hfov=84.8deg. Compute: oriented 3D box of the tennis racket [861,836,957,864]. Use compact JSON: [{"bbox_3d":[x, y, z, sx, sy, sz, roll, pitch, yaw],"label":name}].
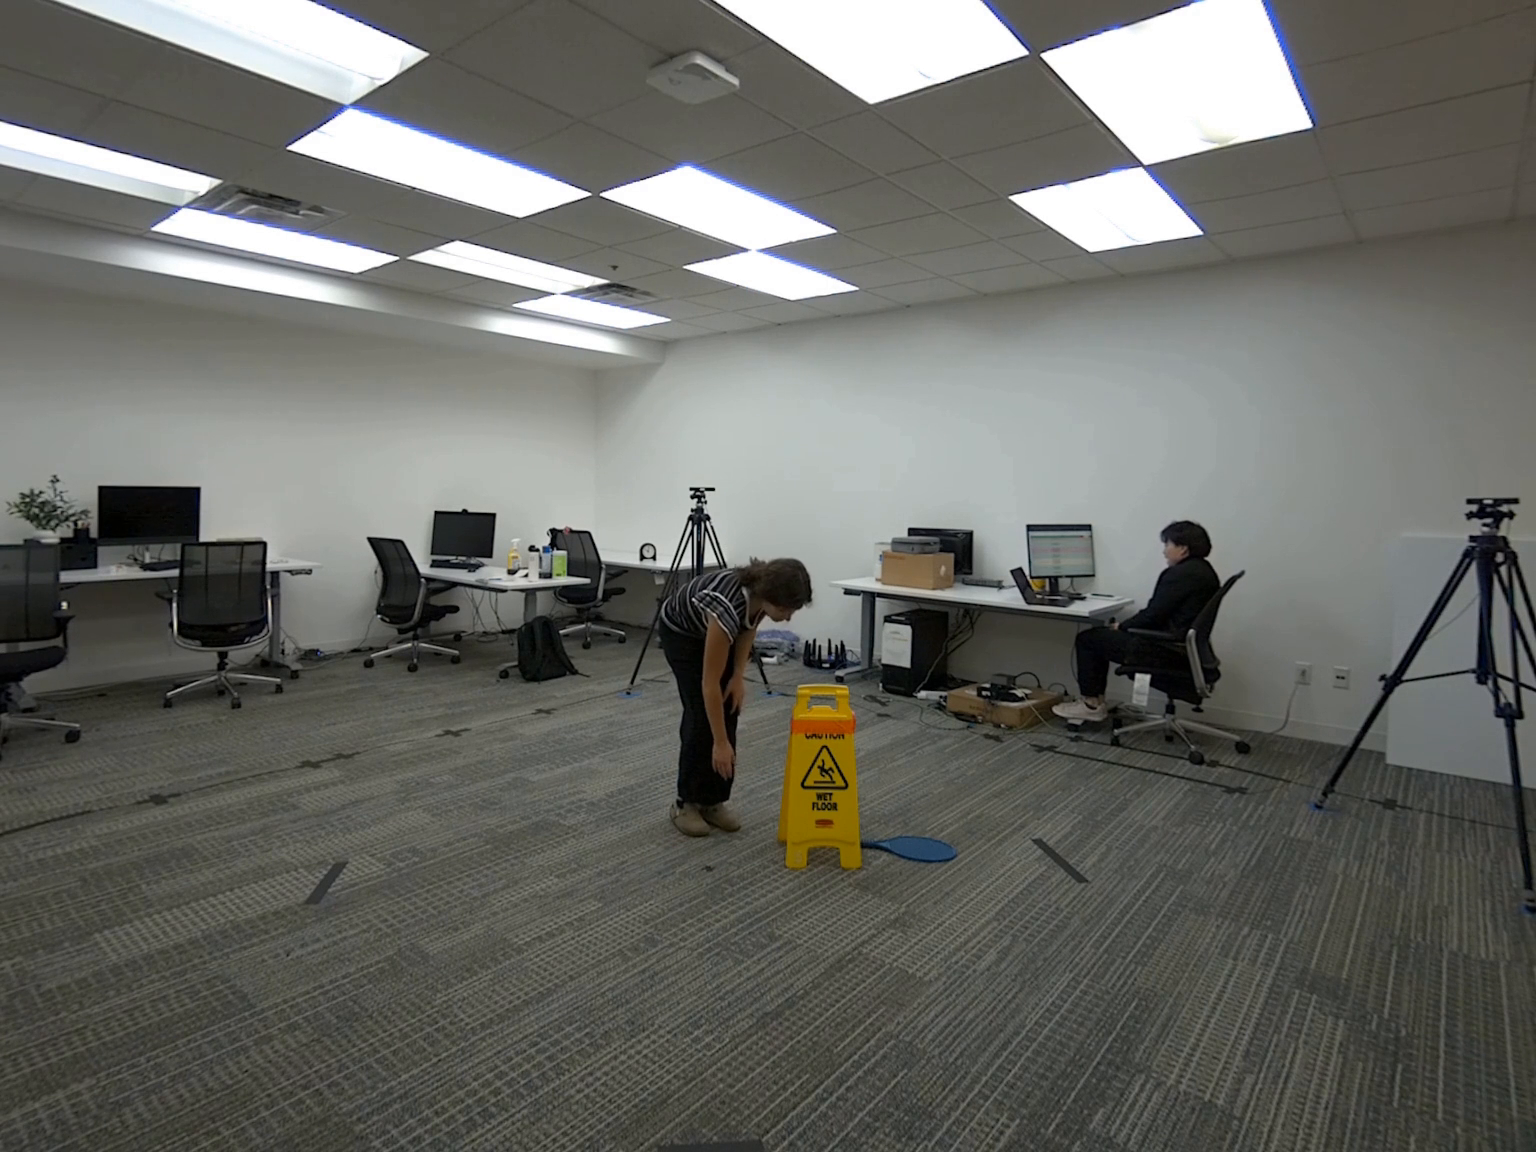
[{"bbox_3d":[0.502,1.047,3.318,0.435,0.031,0.213,3,6,5],"label":"tennis racket"}]
